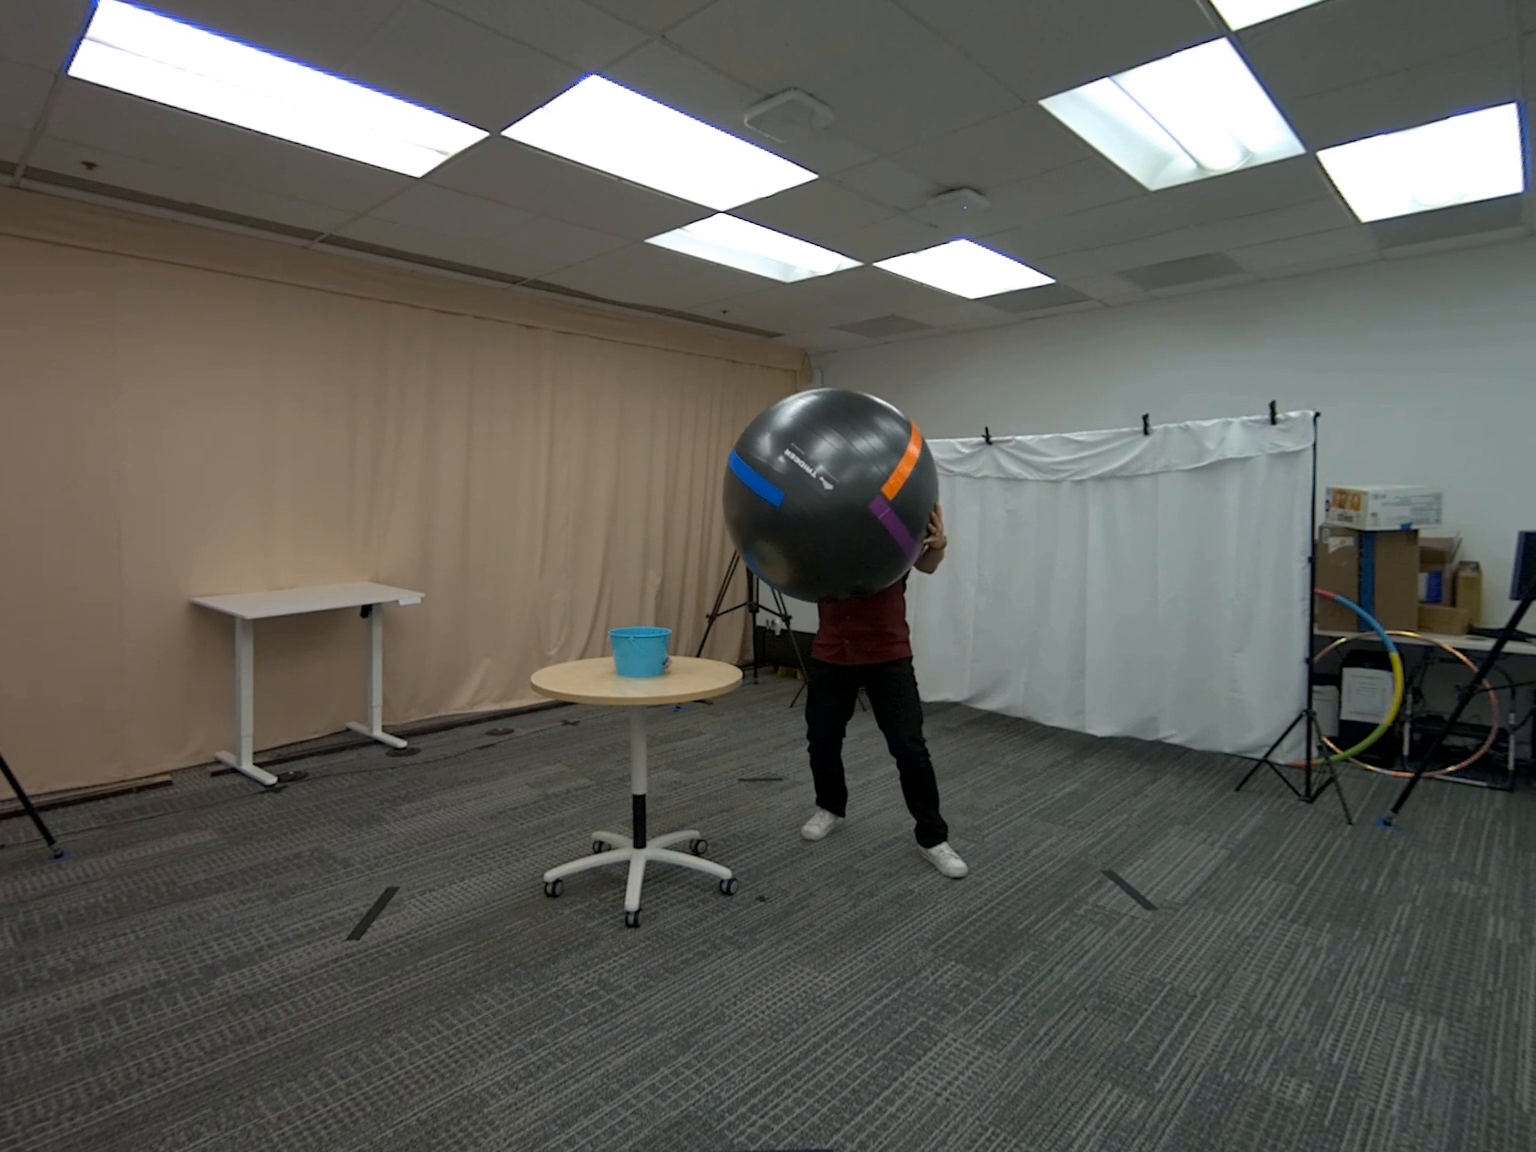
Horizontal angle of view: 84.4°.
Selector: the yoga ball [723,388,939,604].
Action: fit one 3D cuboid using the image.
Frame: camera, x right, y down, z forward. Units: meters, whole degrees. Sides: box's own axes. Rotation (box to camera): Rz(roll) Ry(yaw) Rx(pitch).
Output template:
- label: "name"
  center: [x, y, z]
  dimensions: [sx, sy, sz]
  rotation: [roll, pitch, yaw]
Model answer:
- label: "yoga ball"
  center: [0.226, -0.280, 2.974]
  dimensions: [0.757, 0.756, 0.761]
  rotation: [0, 4, -2]
